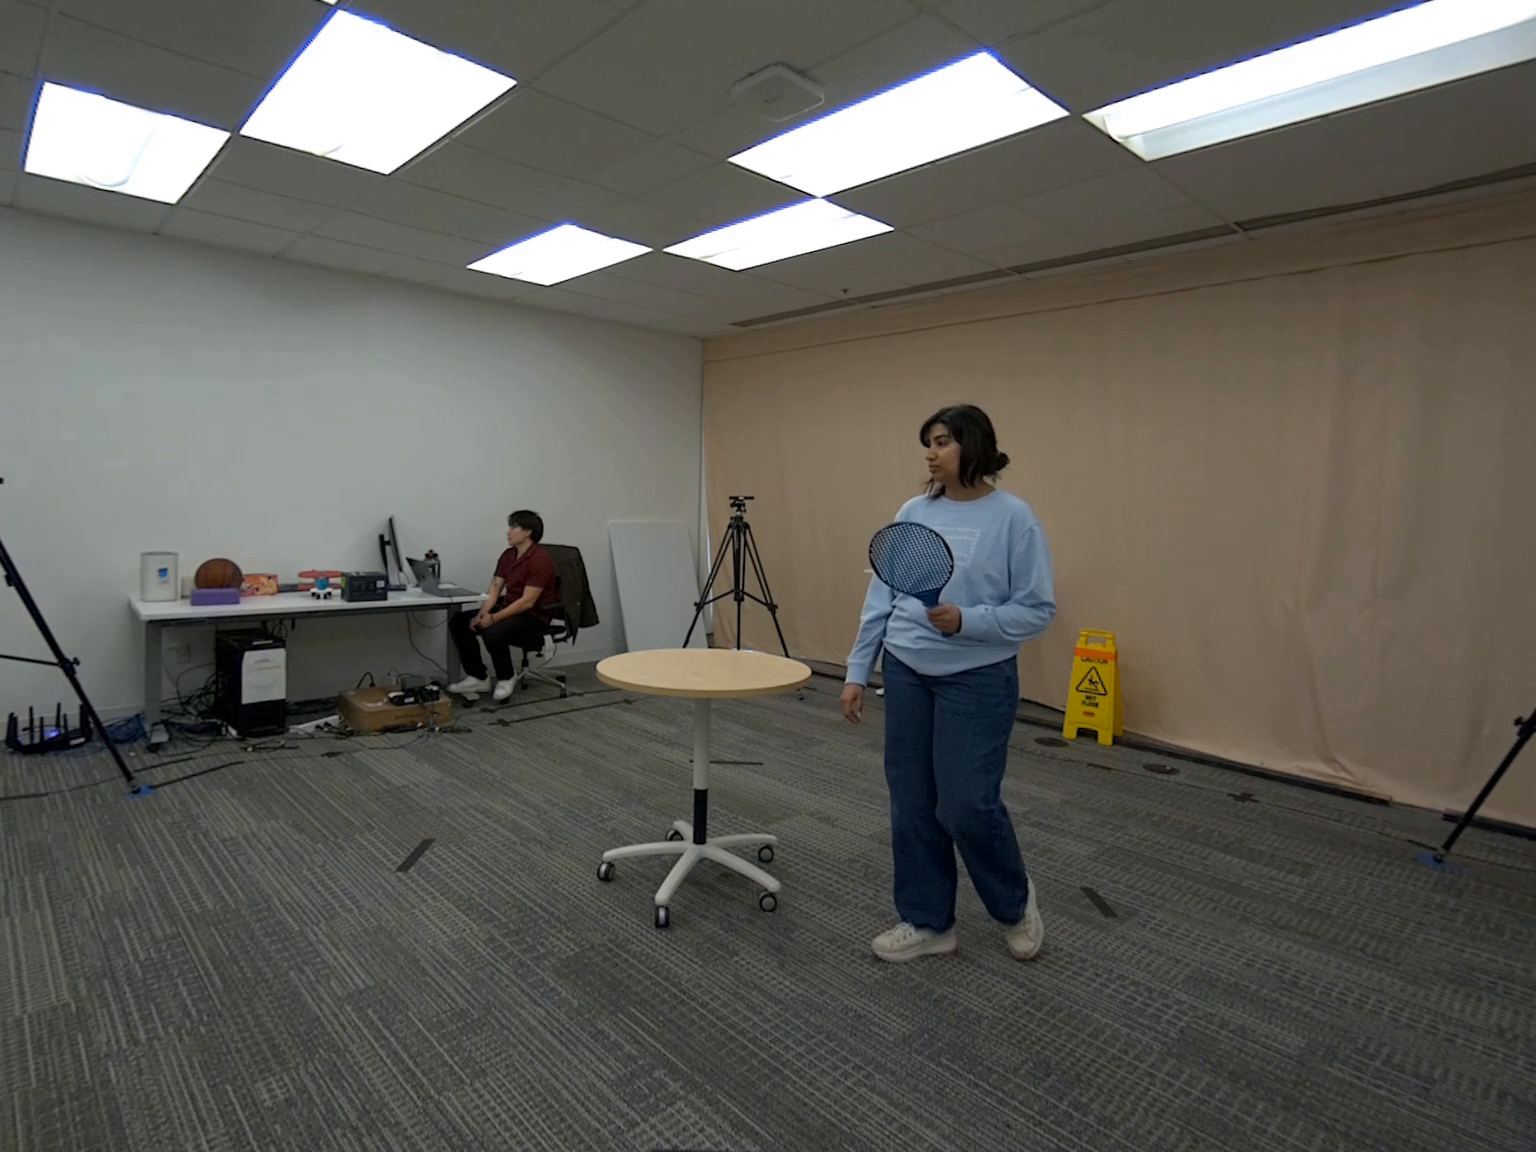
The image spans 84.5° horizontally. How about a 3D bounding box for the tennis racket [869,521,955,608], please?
[{"bbox_3d":[0.418,0.016,2.271,0.216,0.421,0.032,-18,35,26],"label":"tennis racket"}]
